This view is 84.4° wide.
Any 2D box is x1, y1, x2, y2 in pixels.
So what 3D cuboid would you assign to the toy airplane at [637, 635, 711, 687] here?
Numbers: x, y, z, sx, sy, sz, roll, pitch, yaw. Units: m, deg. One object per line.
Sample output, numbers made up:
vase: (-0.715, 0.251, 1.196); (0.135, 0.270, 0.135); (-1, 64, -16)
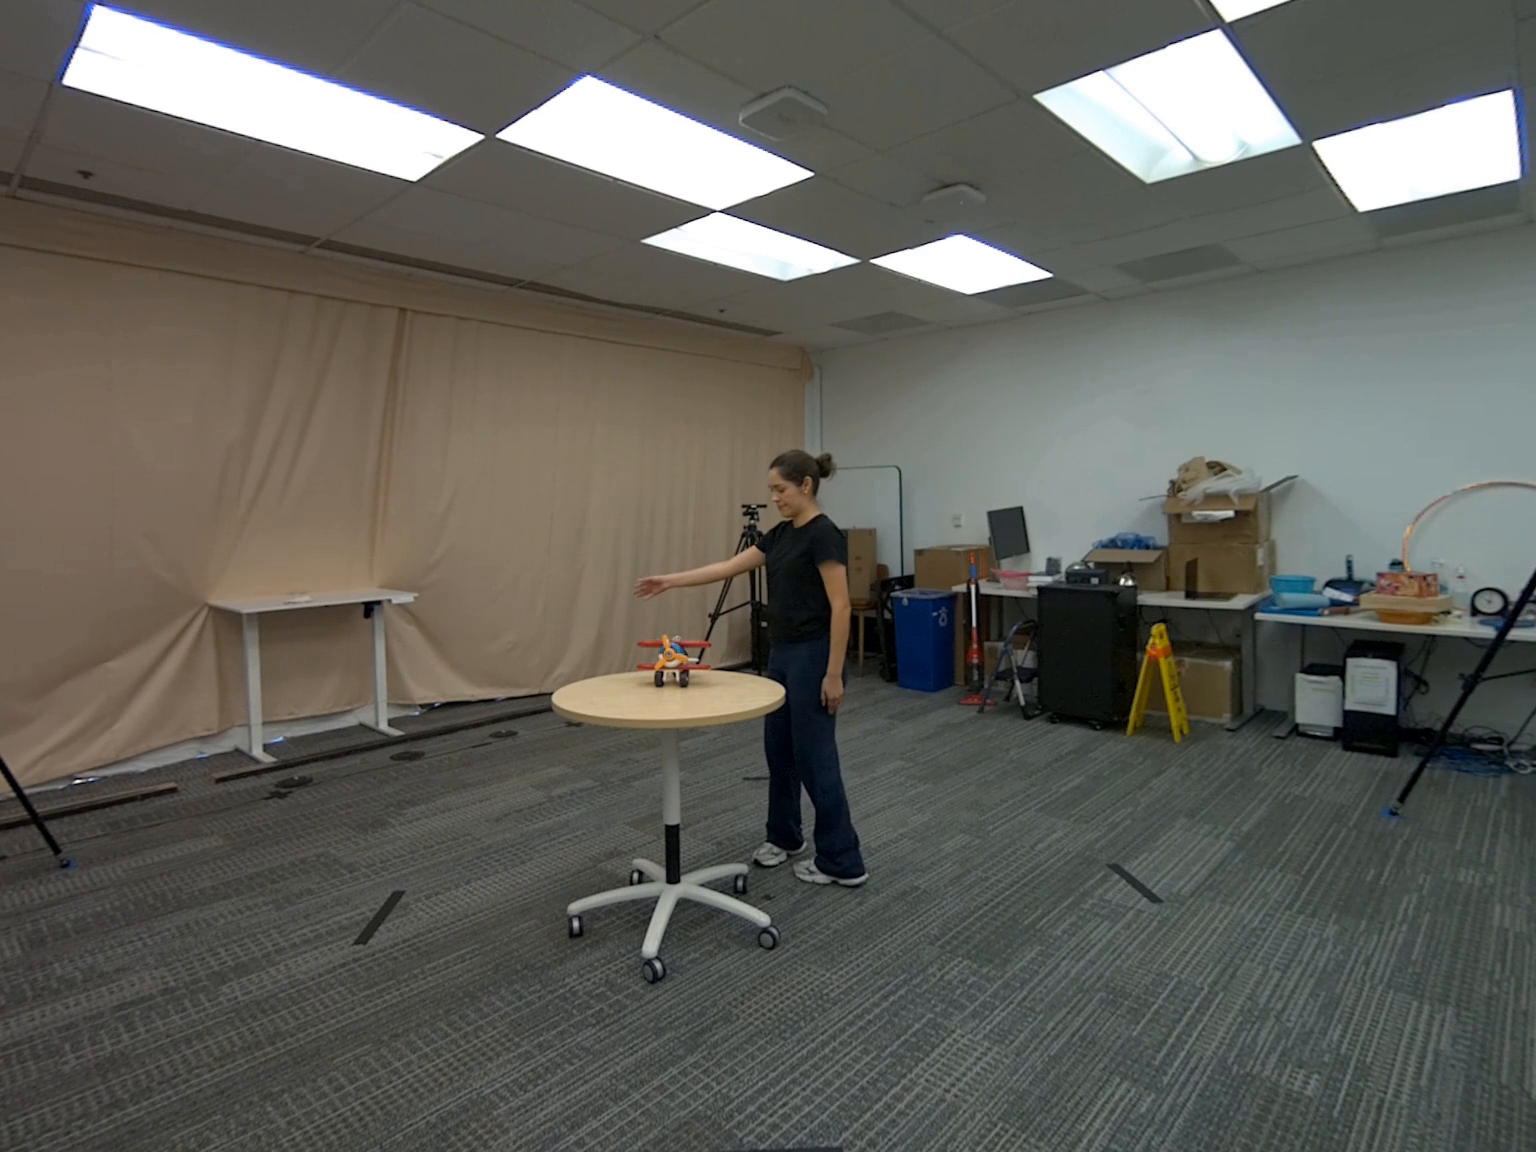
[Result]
toy airplane: (-0.330, 0.291, 2.935); (0.245, 0.156, 0.266); (-1, 3, -25)
